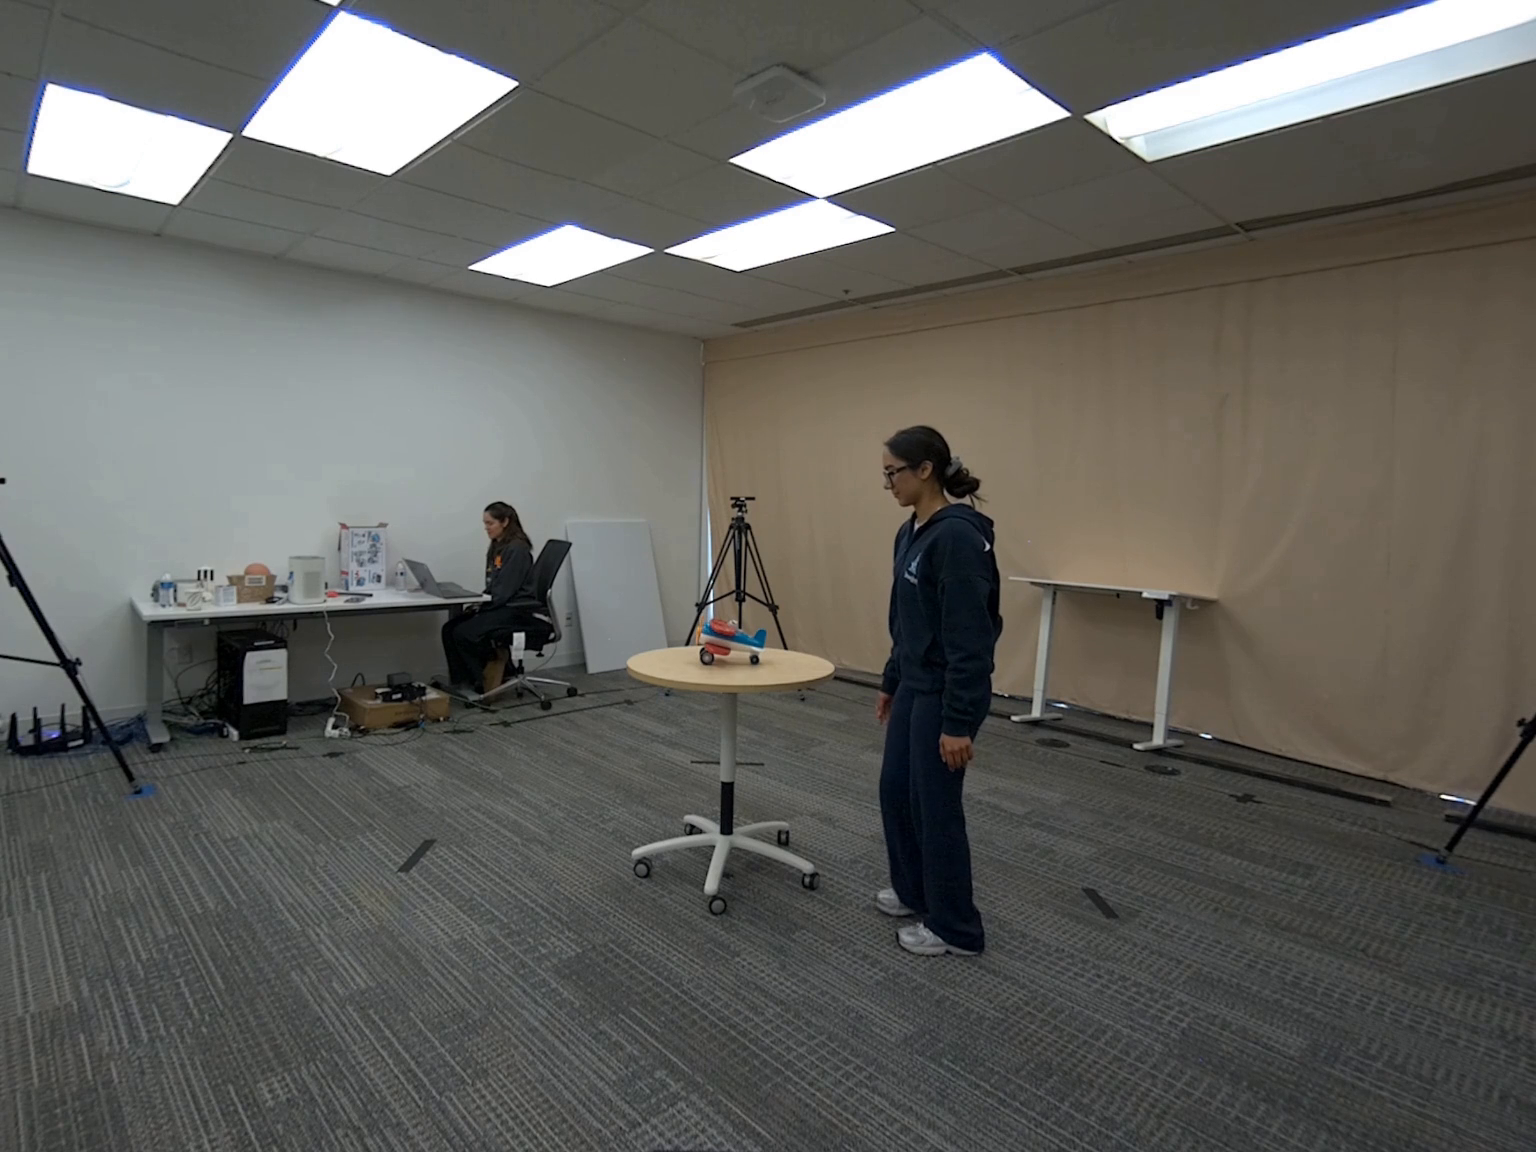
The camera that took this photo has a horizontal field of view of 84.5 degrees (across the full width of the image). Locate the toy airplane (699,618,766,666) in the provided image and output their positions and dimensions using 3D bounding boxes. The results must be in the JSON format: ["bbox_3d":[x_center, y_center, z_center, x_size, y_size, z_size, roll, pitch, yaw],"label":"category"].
[{"bbox_3d":[-0.147,0.248,3.129,0.254,0.156,0.257,-1,5,-30],"label":"toy airplane"}]
